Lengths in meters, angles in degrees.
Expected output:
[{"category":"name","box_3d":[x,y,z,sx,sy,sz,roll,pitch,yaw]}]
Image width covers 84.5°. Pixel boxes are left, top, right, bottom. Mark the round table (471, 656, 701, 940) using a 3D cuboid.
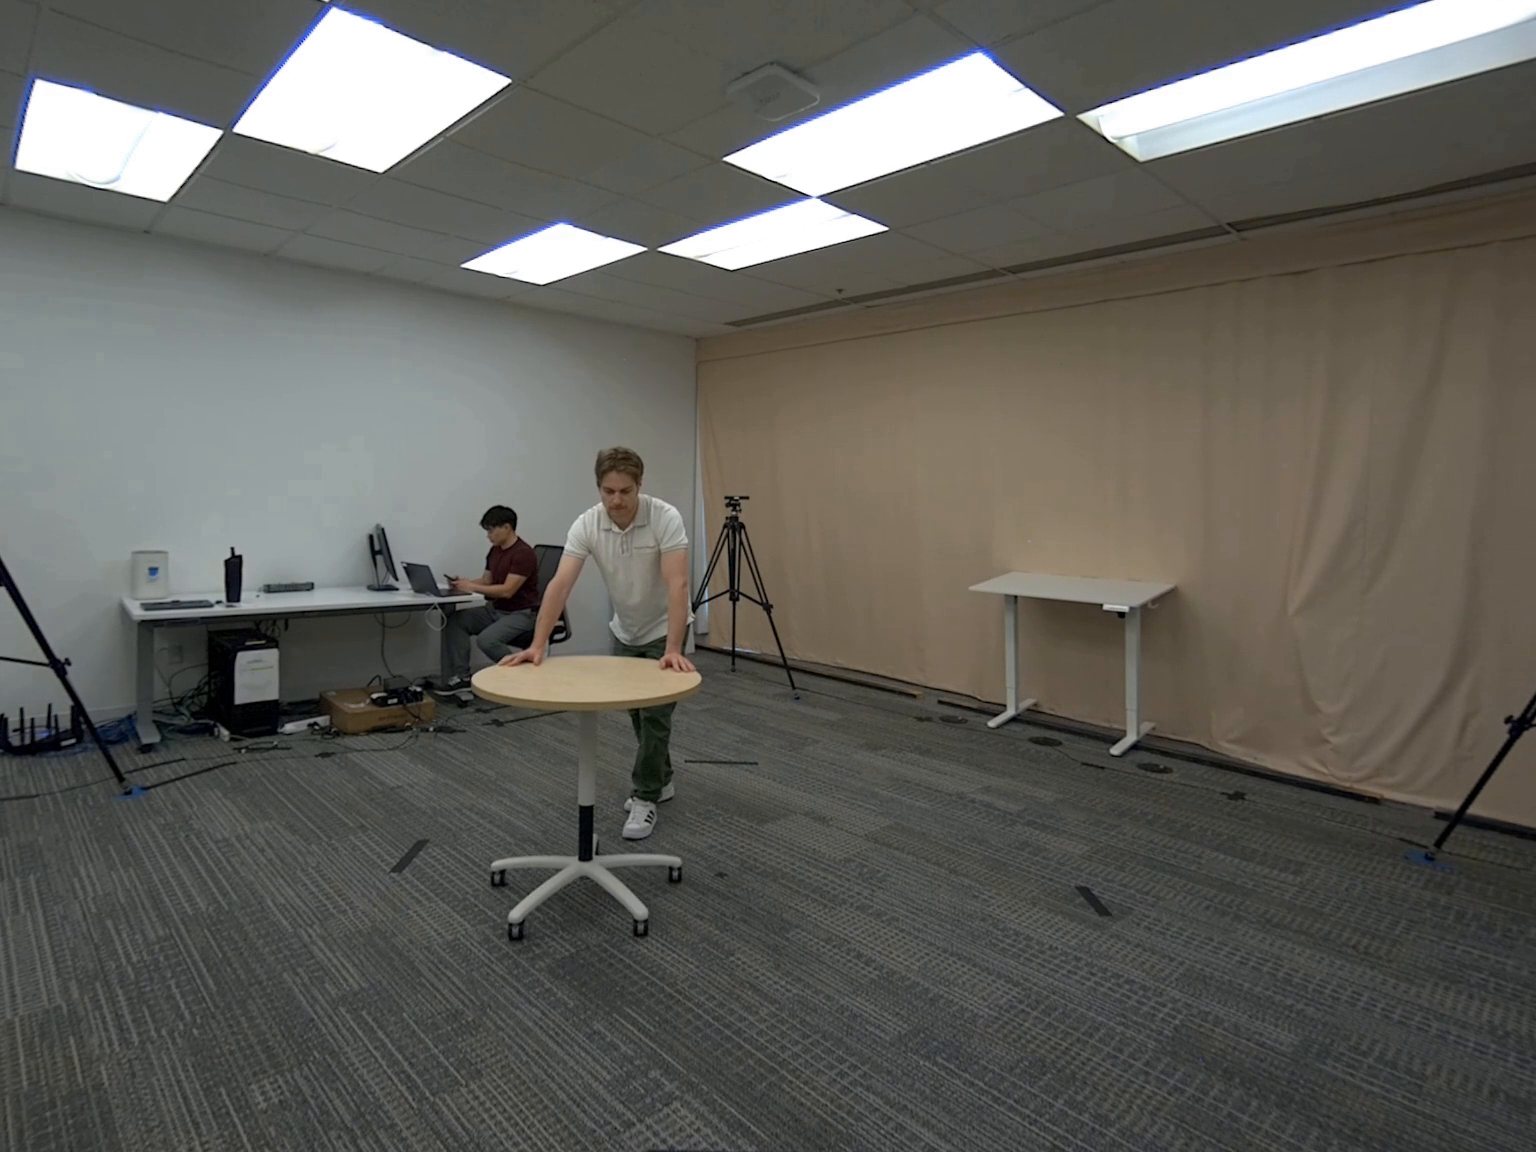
[{"category":"round table","box_3d":[-0.630,0.732,2.871,0.763,0.792,0.766,1,4,-1]}]
